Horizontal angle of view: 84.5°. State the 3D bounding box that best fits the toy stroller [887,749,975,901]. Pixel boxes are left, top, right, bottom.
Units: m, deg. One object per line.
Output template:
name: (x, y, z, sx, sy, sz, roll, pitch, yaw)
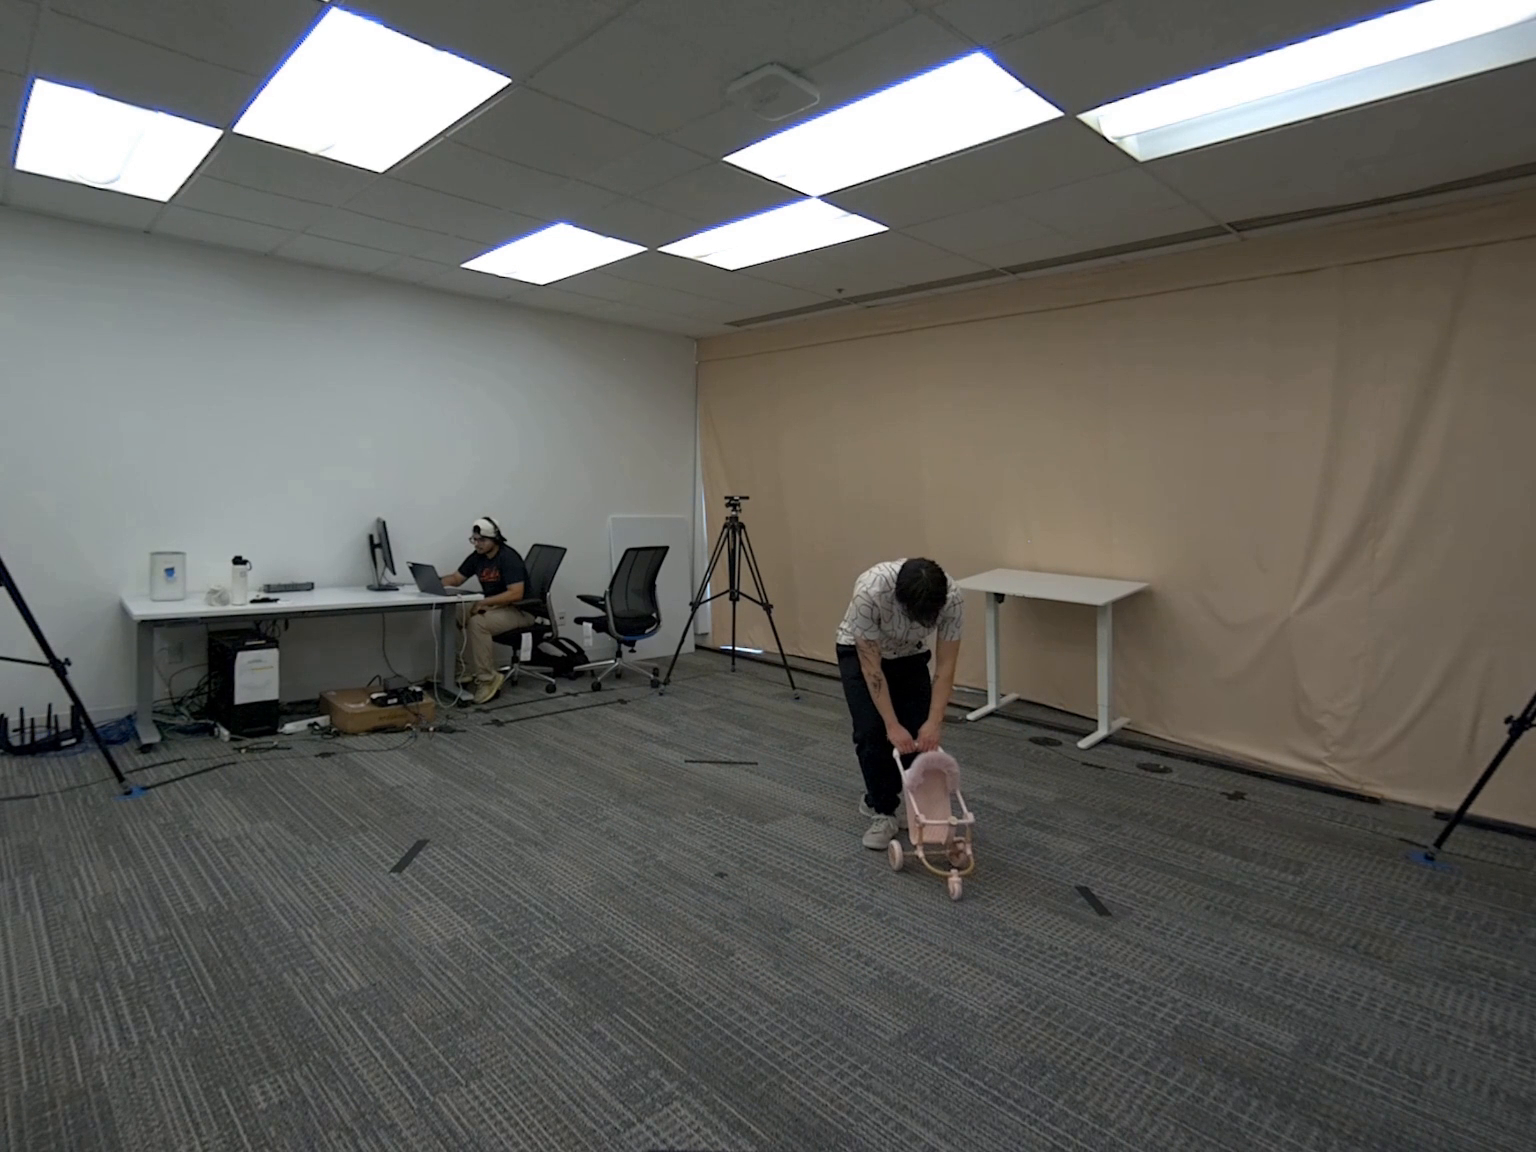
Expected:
toy stroller: (0.610, 0.896, 3.135, 0.280, 0.540, 0.340, 1, -12, -7)
